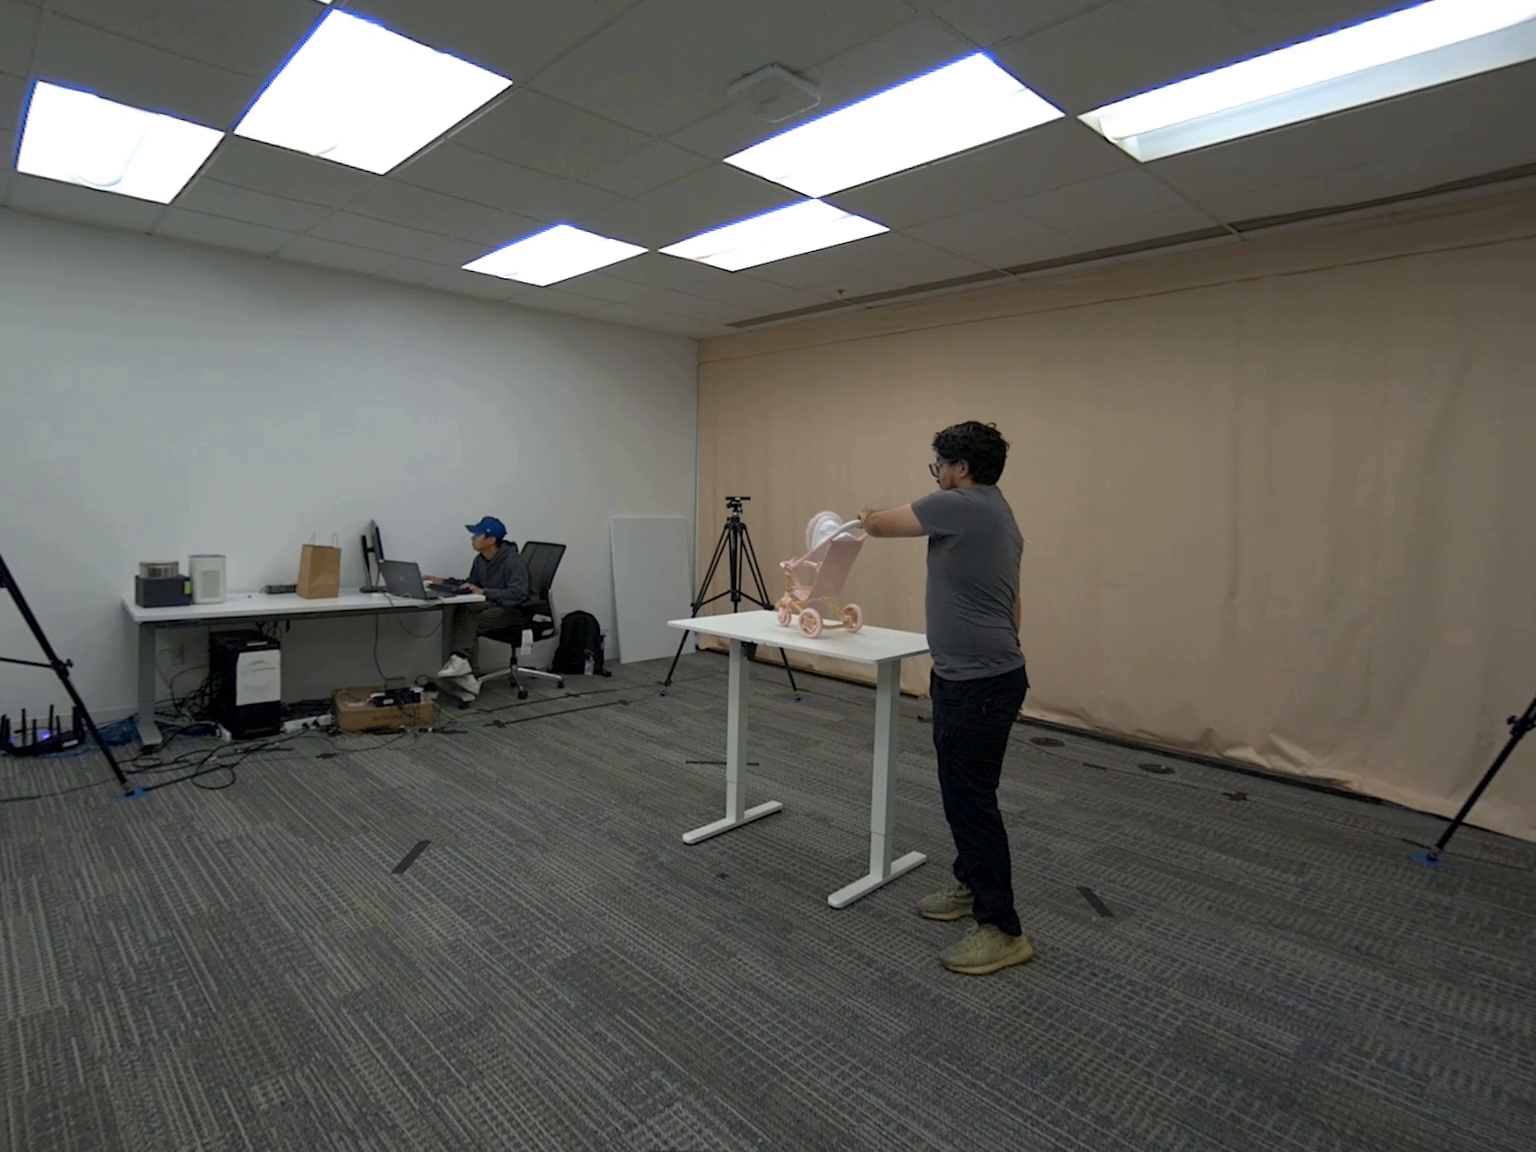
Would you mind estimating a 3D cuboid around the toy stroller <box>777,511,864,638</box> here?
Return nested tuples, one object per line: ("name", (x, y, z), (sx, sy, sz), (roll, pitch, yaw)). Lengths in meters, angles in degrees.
("toy stroller", (0.200, -0.006, 3.235), (0.275, 0.531, 0.352), (-1, 19, -40))
